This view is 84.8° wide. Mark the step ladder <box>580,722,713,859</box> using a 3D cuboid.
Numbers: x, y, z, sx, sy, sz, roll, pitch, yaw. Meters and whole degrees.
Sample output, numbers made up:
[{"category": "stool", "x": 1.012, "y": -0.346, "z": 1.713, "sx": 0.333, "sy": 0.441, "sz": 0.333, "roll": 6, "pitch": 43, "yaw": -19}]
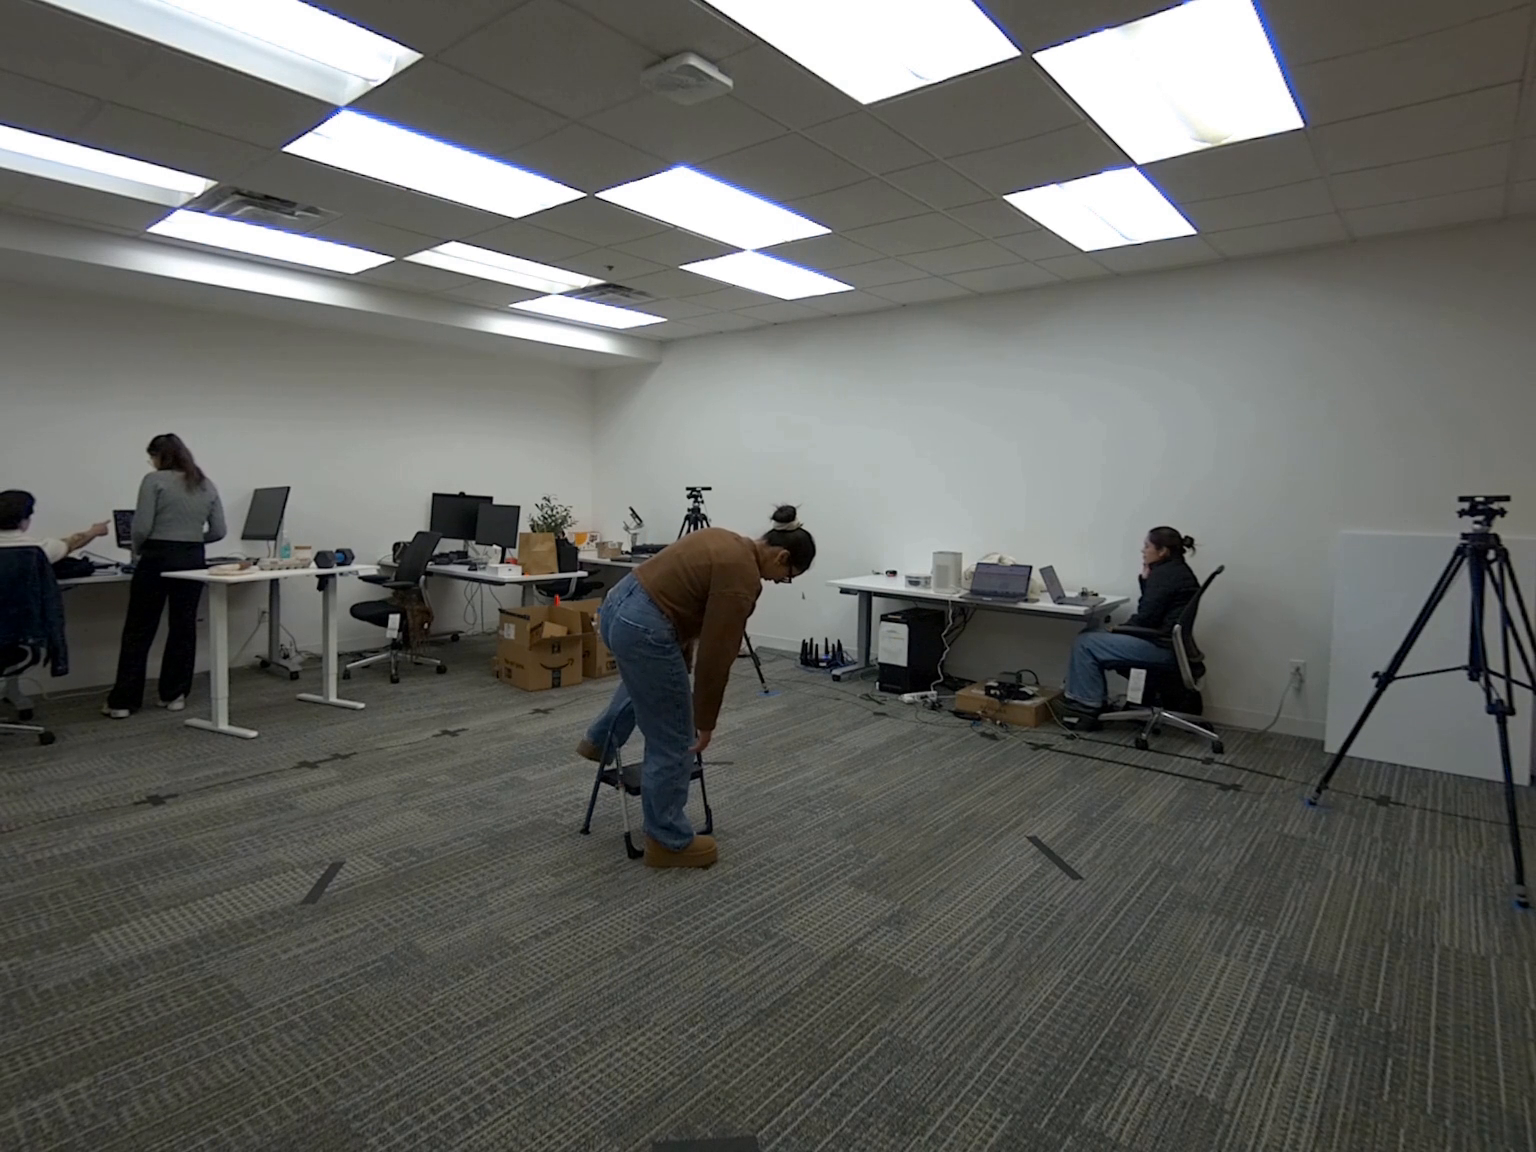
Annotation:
[{"category": "step ladder", "x": -0.490, "y": 0.727, "z": 3.411, "sx": 0.417, "sy": 0.604, "sz": 0.361, "roll": -3, "pitch": 6, "yaw": -44}]
